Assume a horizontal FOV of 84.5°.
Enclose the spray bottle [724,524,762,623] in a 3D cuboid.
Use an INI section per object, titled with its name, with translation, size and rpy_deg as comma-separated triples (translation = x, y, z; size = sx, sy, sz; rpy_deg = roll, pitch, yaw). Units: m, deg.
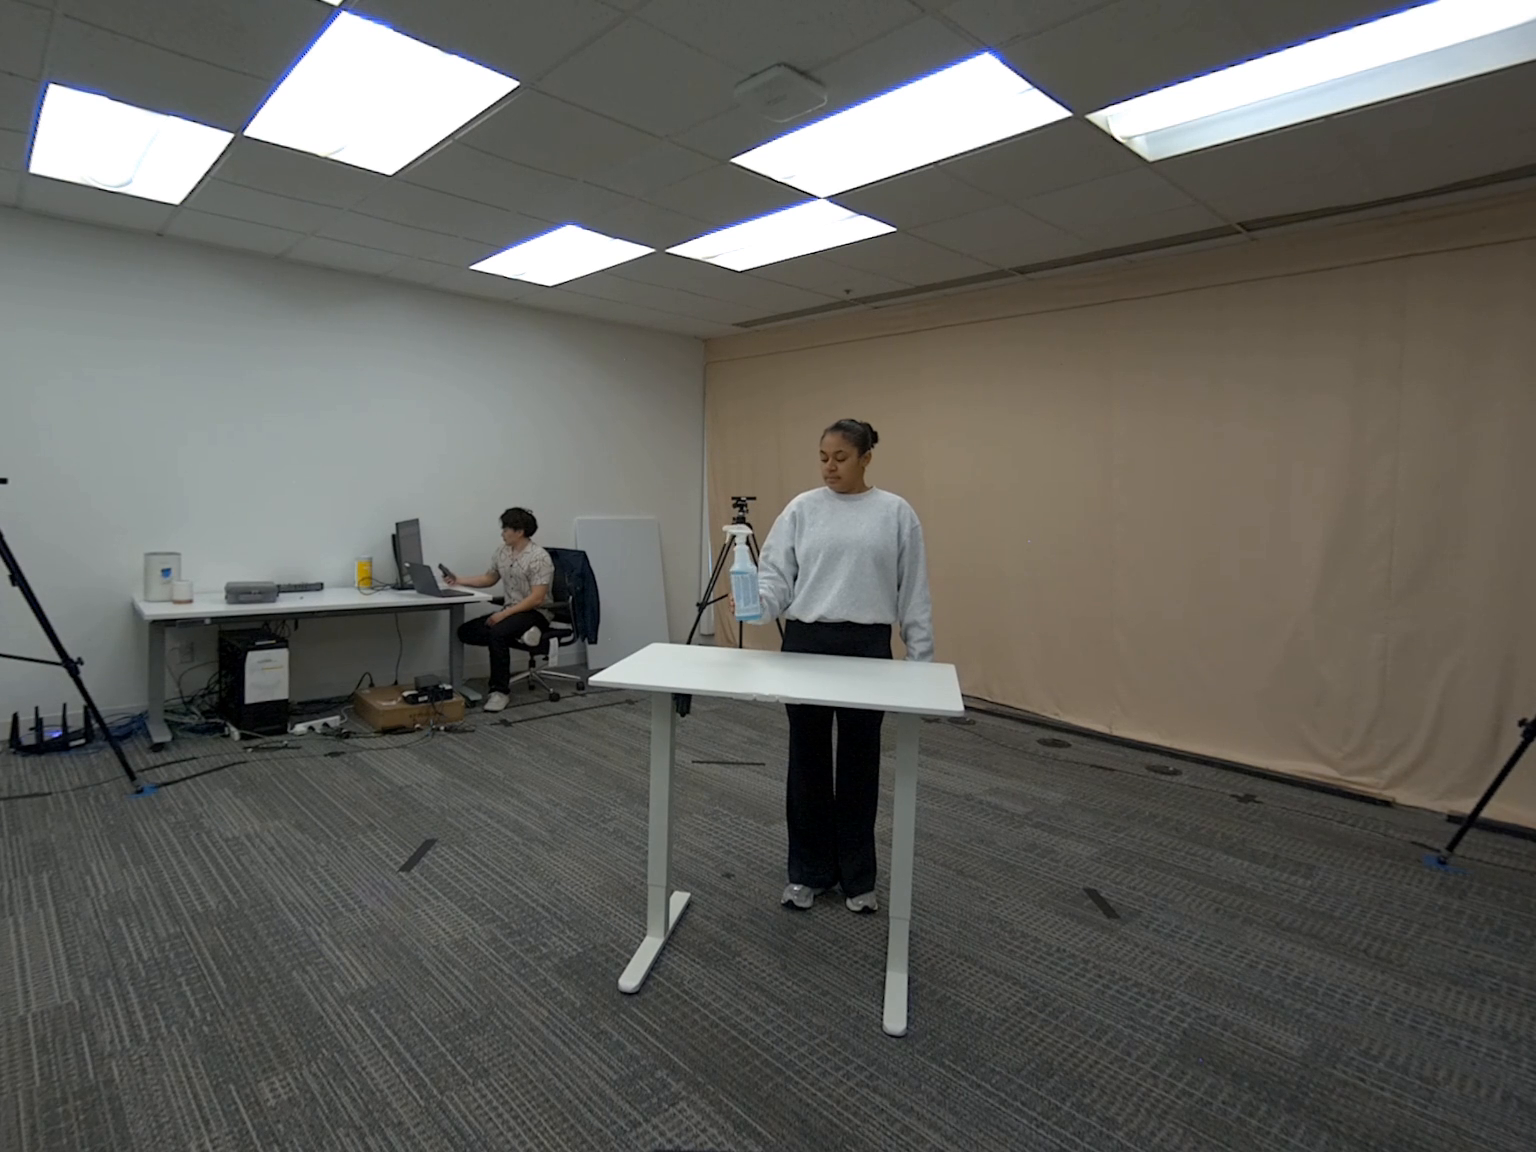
[spray bottle]
translation = -0.084, -0.017, 2.618
size = 0.091, 0.297, 0.086
rpy_deg = -8, 0, 14
